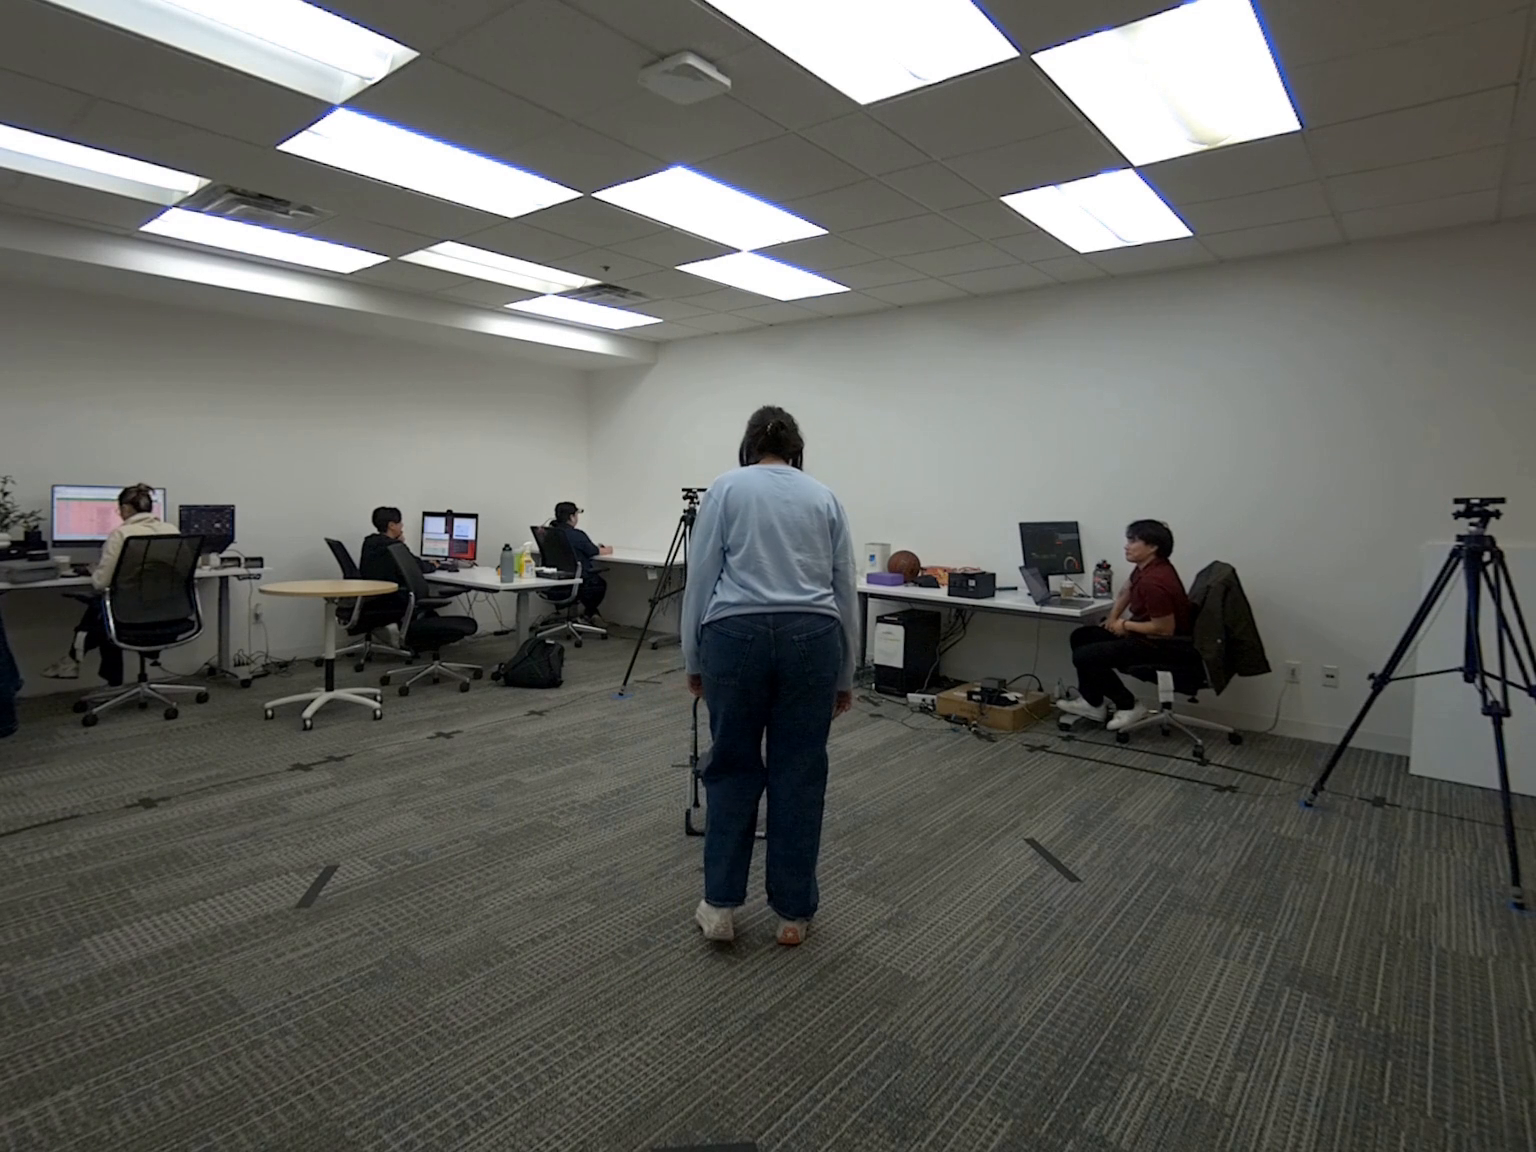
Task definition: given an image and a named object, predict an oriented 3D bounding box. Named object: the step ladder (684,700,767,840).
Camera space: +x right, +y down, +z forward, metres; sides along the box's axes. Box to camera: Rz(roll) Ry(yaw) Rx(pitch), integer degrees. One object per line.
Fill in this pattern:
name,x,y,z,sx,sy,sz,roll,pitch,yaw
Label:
step ladder,-0.124,0.722,3.548,0.433,0.605,0.348,1,3,3
